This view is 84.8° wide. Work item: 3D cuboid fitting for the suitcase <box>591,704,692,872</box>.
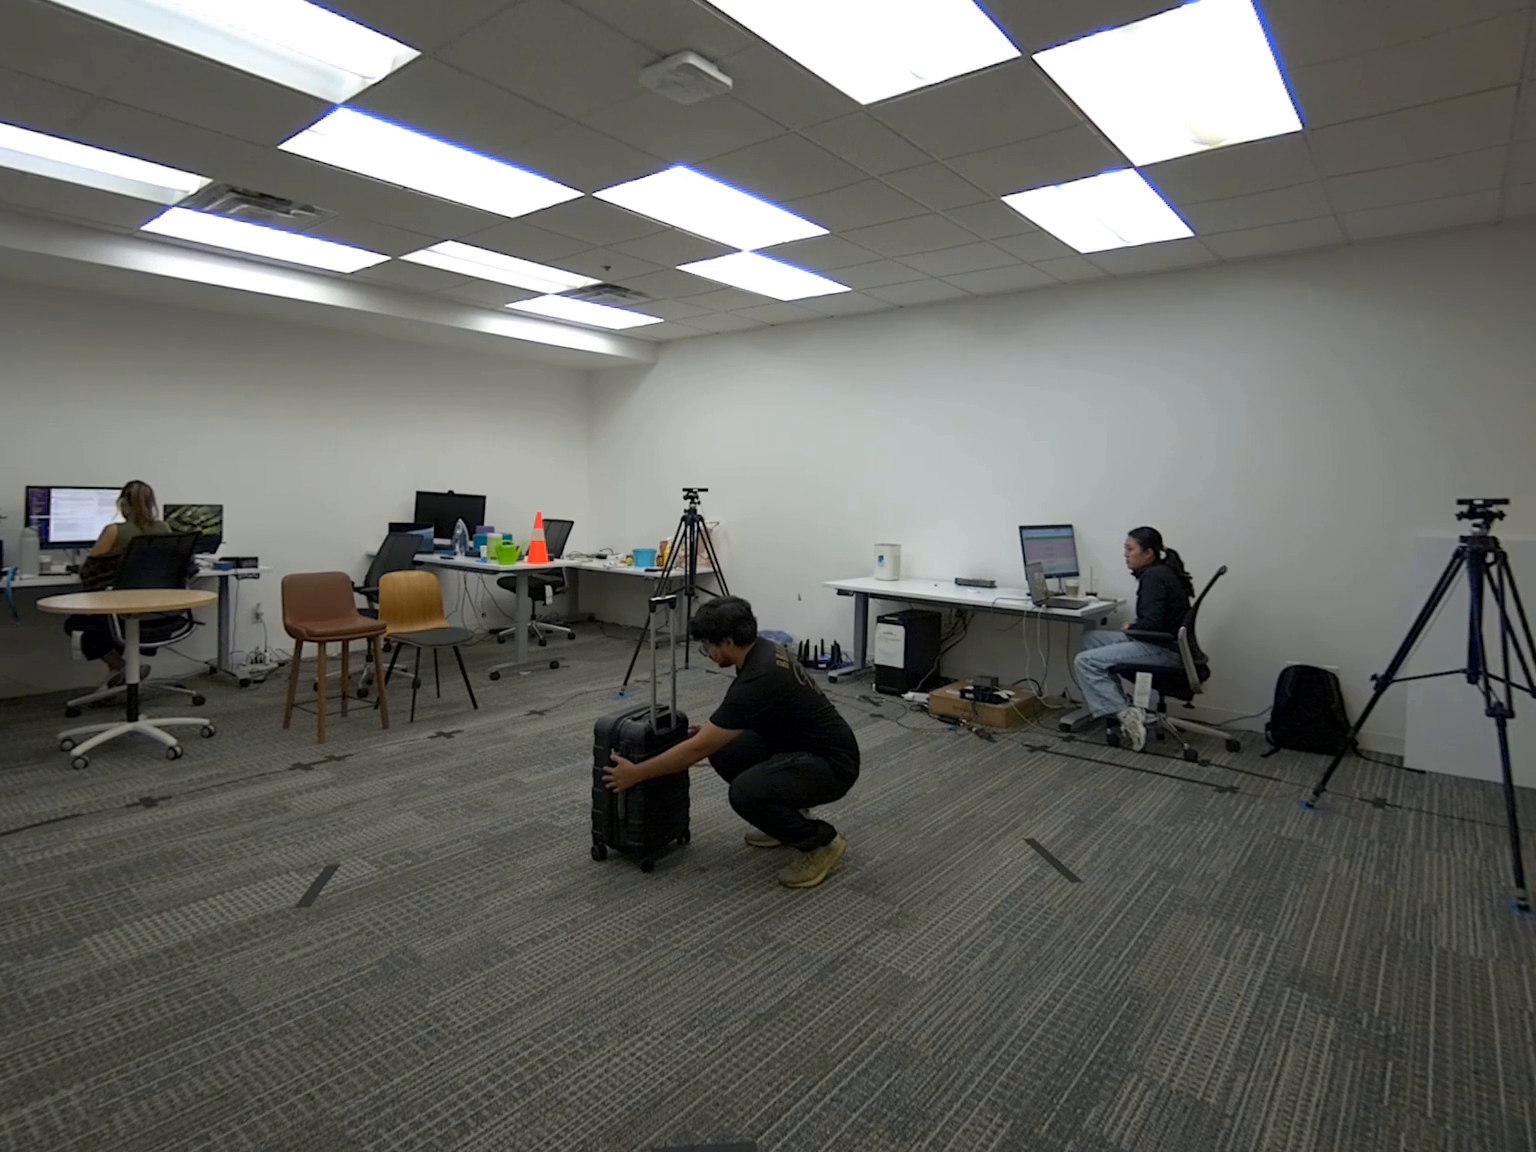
[{"bbox_3d":[-0.495,0.578,3.250,0.264,0.977,0.374,0,2,27],"label":"suitcase"}]
